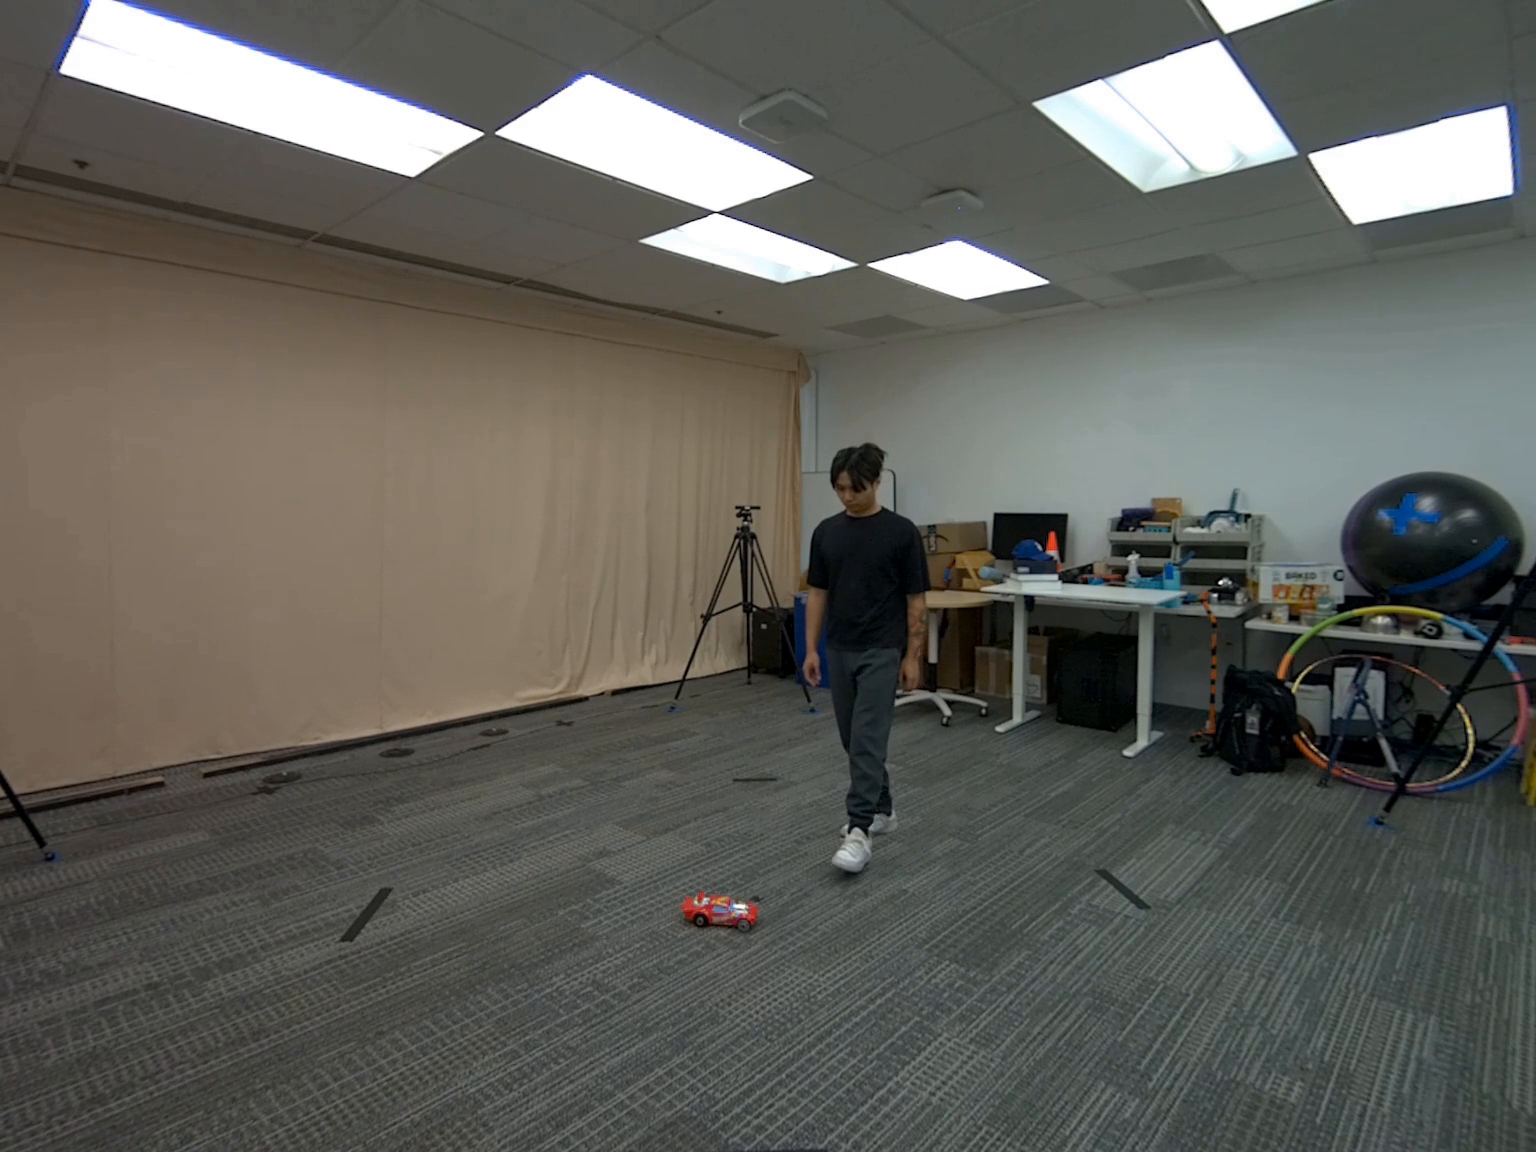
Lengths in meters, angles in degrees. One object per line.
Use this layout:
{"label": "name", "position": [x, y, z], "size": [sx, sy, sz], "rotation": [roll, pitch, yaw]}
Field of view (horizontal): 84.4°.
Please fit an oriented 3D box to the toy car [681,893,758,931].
{"label": "toy car", "position": [-0.161, 1.127, 2.821], "size": [0.258, 0.083, 0.129], "rotation": [11, 6, 11]}
